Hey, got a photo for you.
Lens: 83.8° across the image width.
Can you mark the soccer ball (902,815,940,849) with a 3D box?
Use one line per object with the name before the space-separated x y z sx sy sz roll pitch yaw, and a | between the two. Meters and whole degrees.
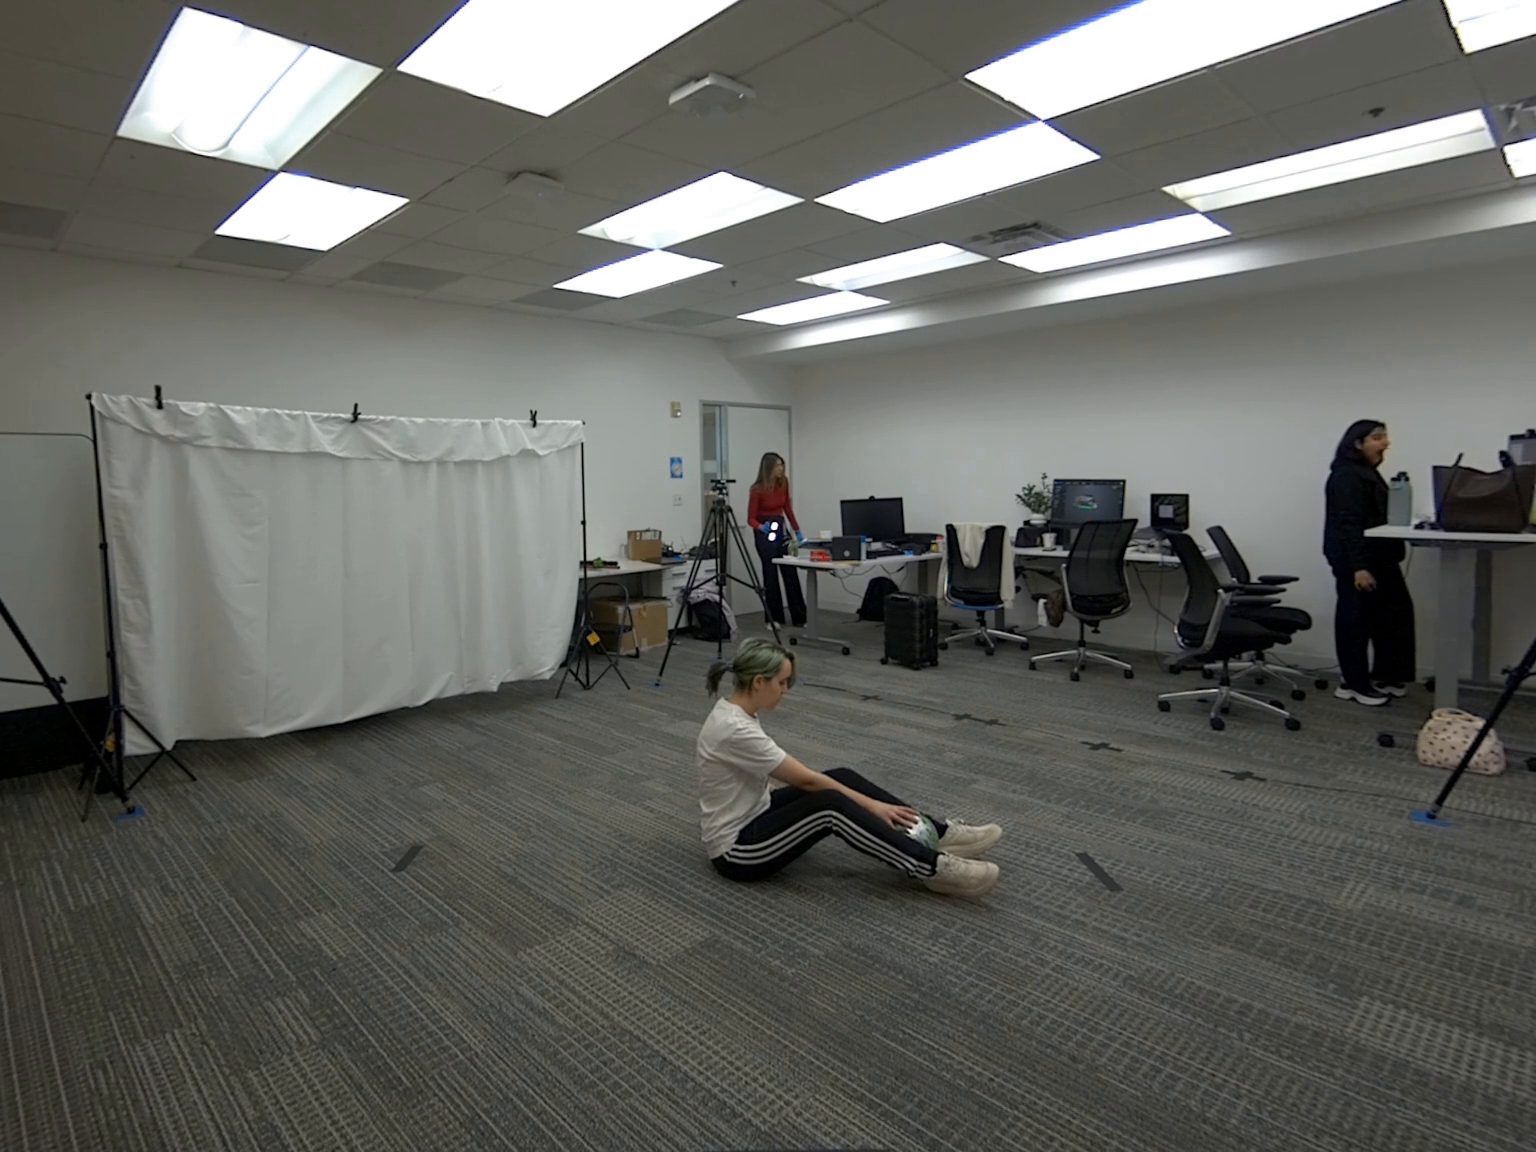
soccer ball | 0.492 0.920 2.979 0.187 0.187 0.188 -1 5 -2
